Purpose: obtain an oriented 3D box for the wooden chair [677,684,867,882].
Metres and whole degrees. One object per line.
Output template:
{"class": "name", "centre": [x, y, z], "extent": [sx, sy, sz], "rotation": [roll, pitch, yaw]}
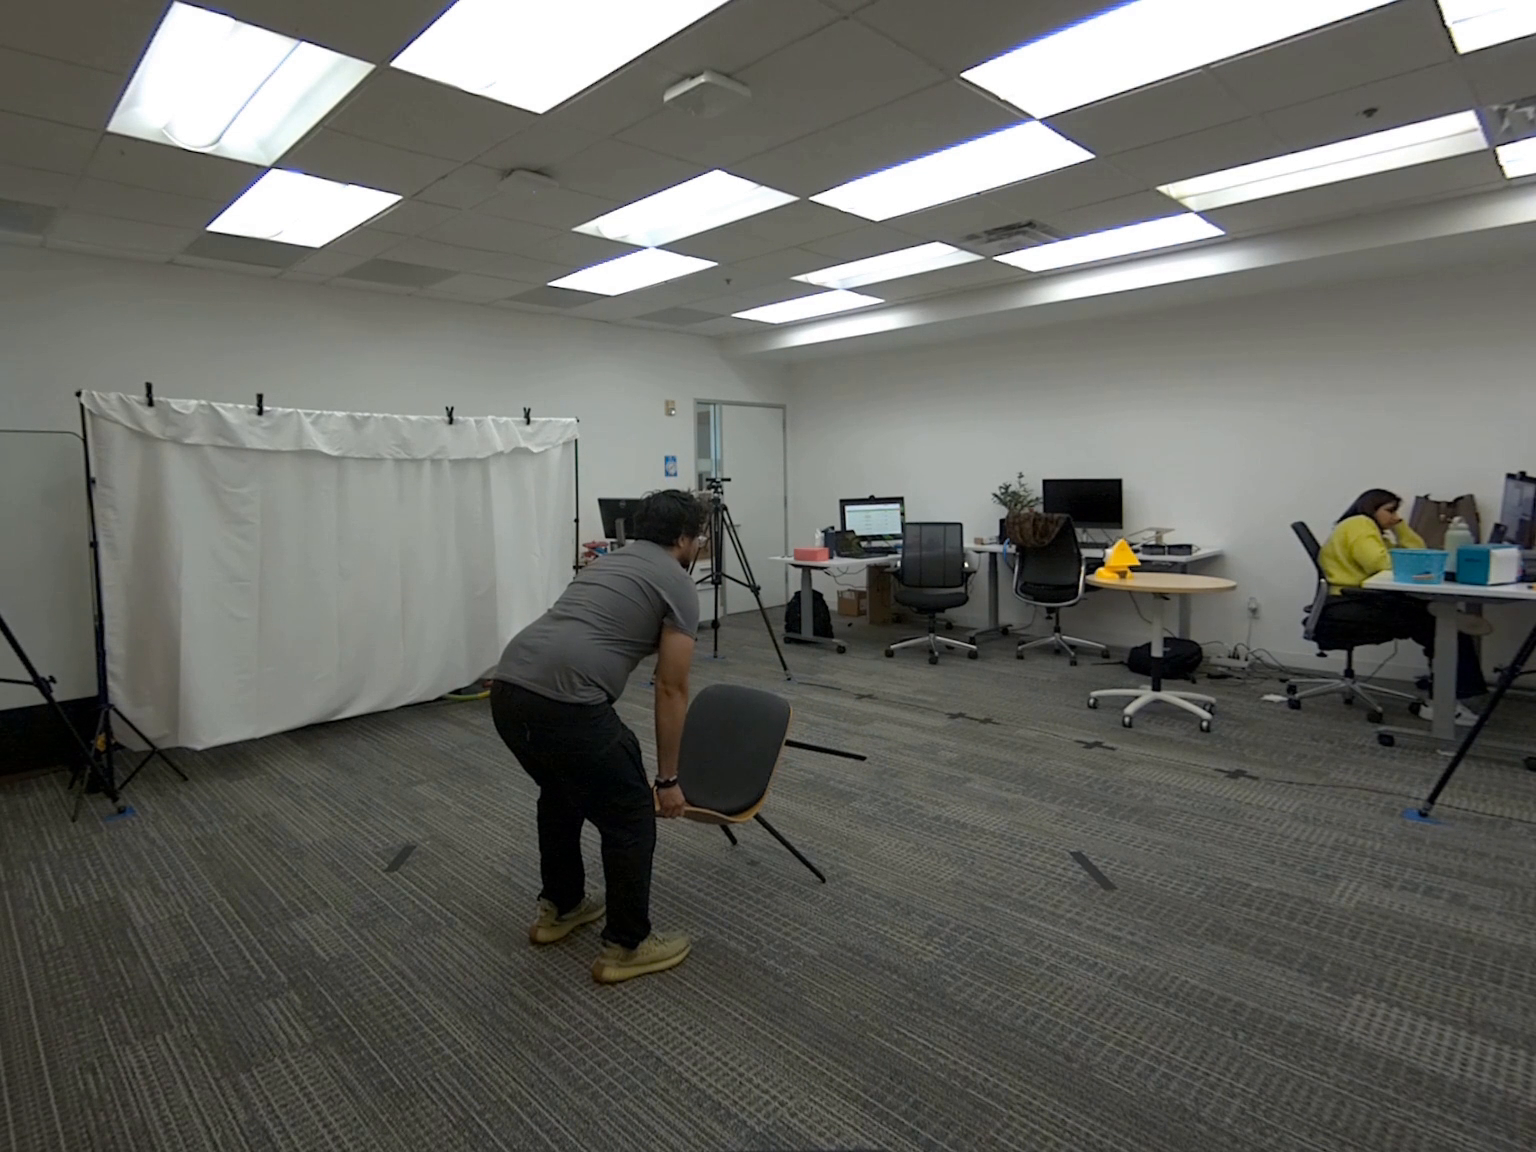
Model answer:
{"class": "wooden chair", "centre": [-0.126, 0.639, 2.918], "extent": [0.493, 0.527, 0.843], "rotation": [4, -21, 44]}
